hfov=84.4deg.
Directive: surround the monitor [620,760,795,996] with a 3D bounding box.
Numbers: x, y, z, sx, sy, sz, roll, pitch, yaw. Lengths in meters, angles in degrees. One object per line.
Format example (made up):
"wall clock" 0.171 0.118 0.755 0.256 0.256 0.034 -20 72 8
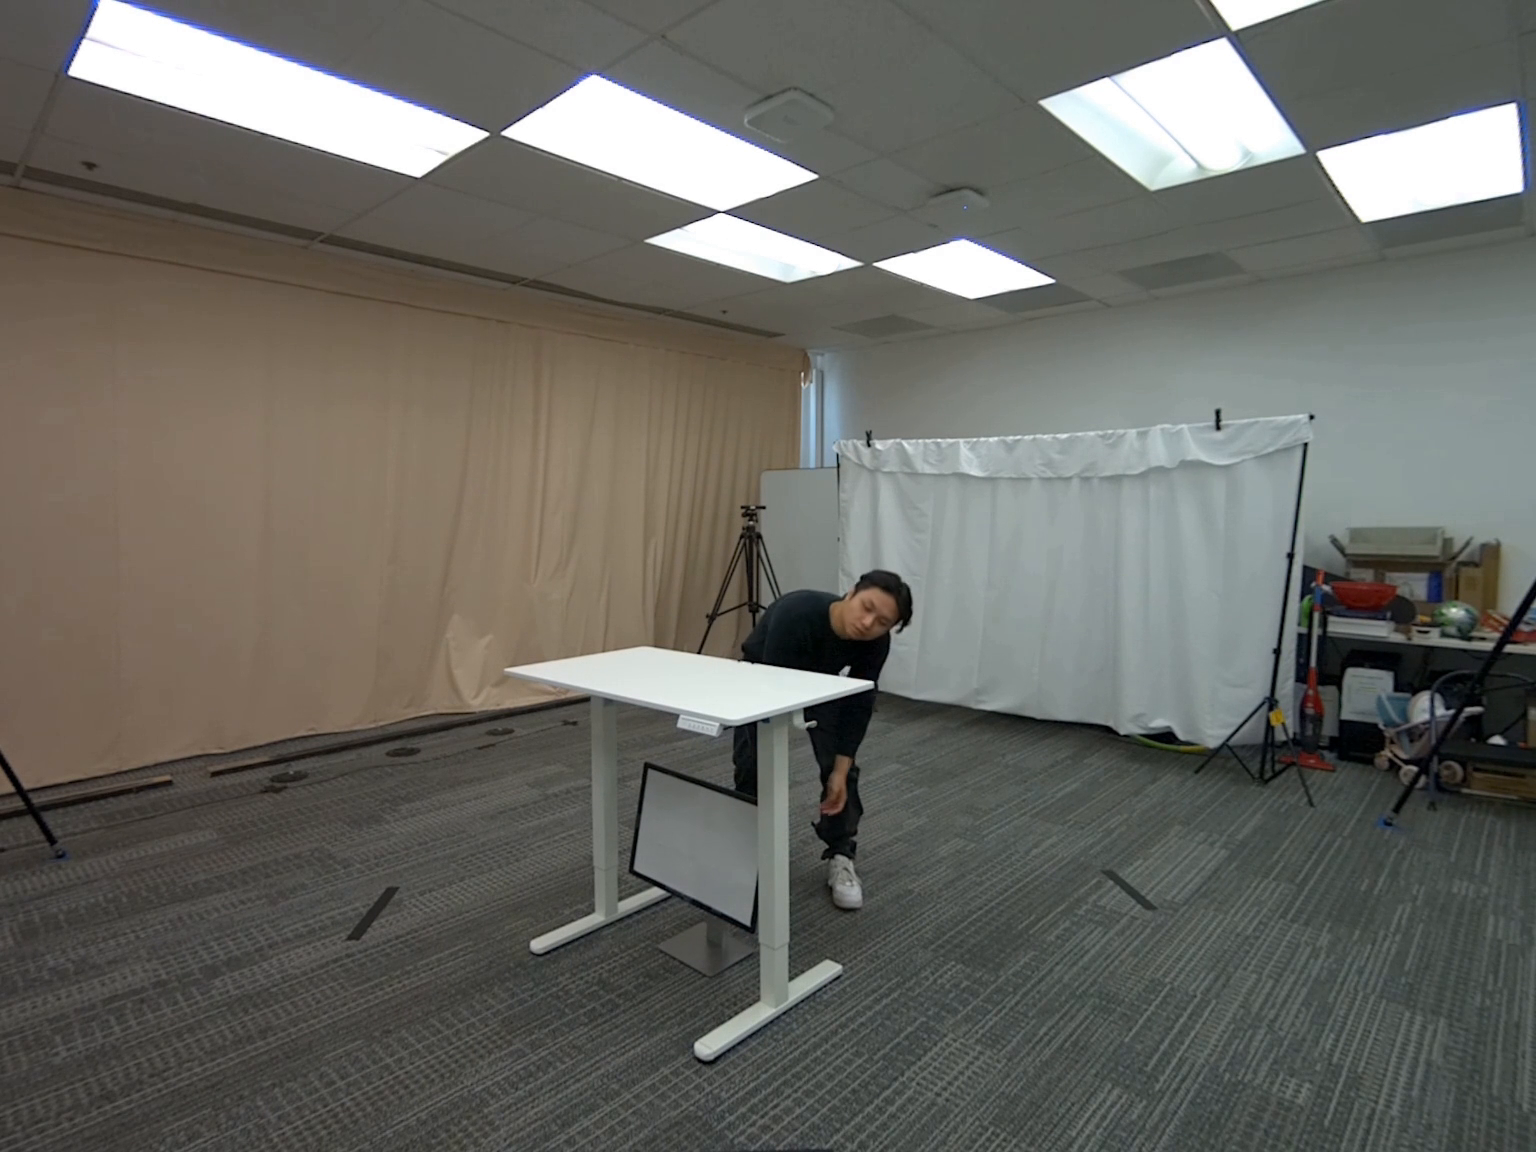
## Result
"monitor" -0.197 0.901 2.614 0.548 0.513 0.170 4 11 43
